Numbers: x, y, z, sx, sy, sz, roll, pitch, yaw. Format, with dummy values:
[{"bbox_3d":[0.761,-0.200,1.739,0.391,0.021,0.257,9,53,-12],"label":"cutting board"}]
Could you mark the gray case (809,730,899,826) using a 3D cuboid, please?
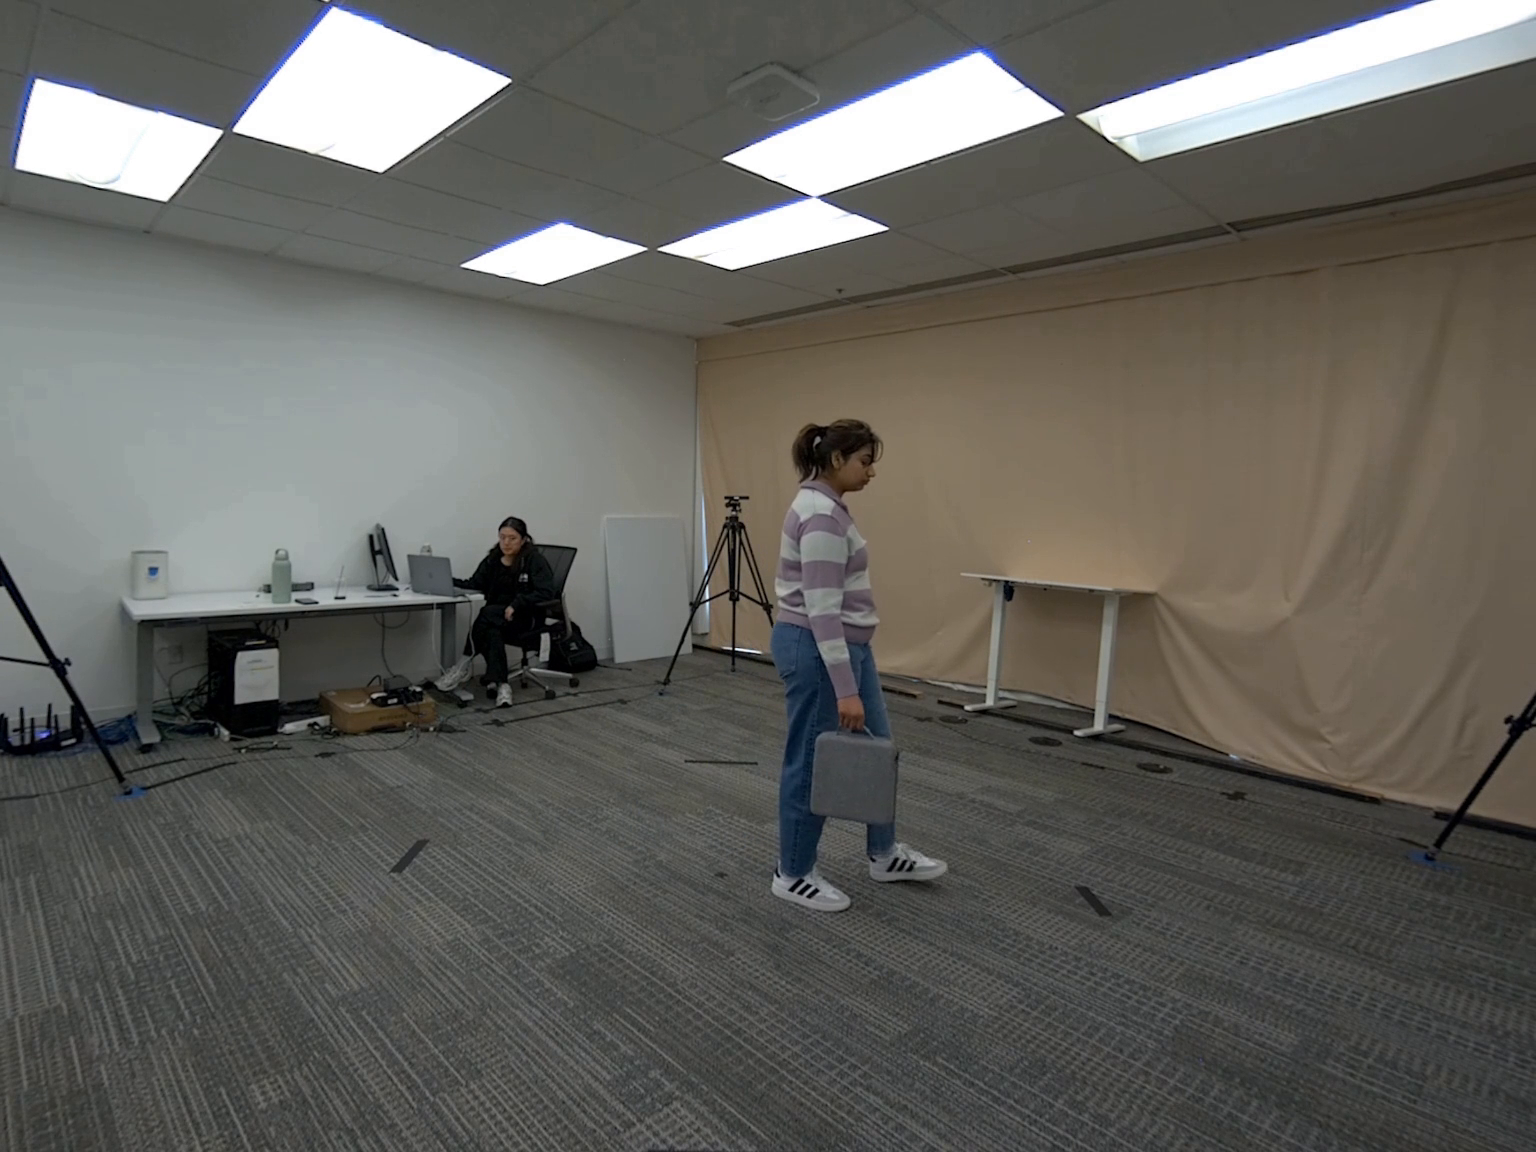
[{"bbox_3d":[0.257,0.620,2.595,0.261,0.261,0.102,2,-3,18],"label":"gray case"}]
